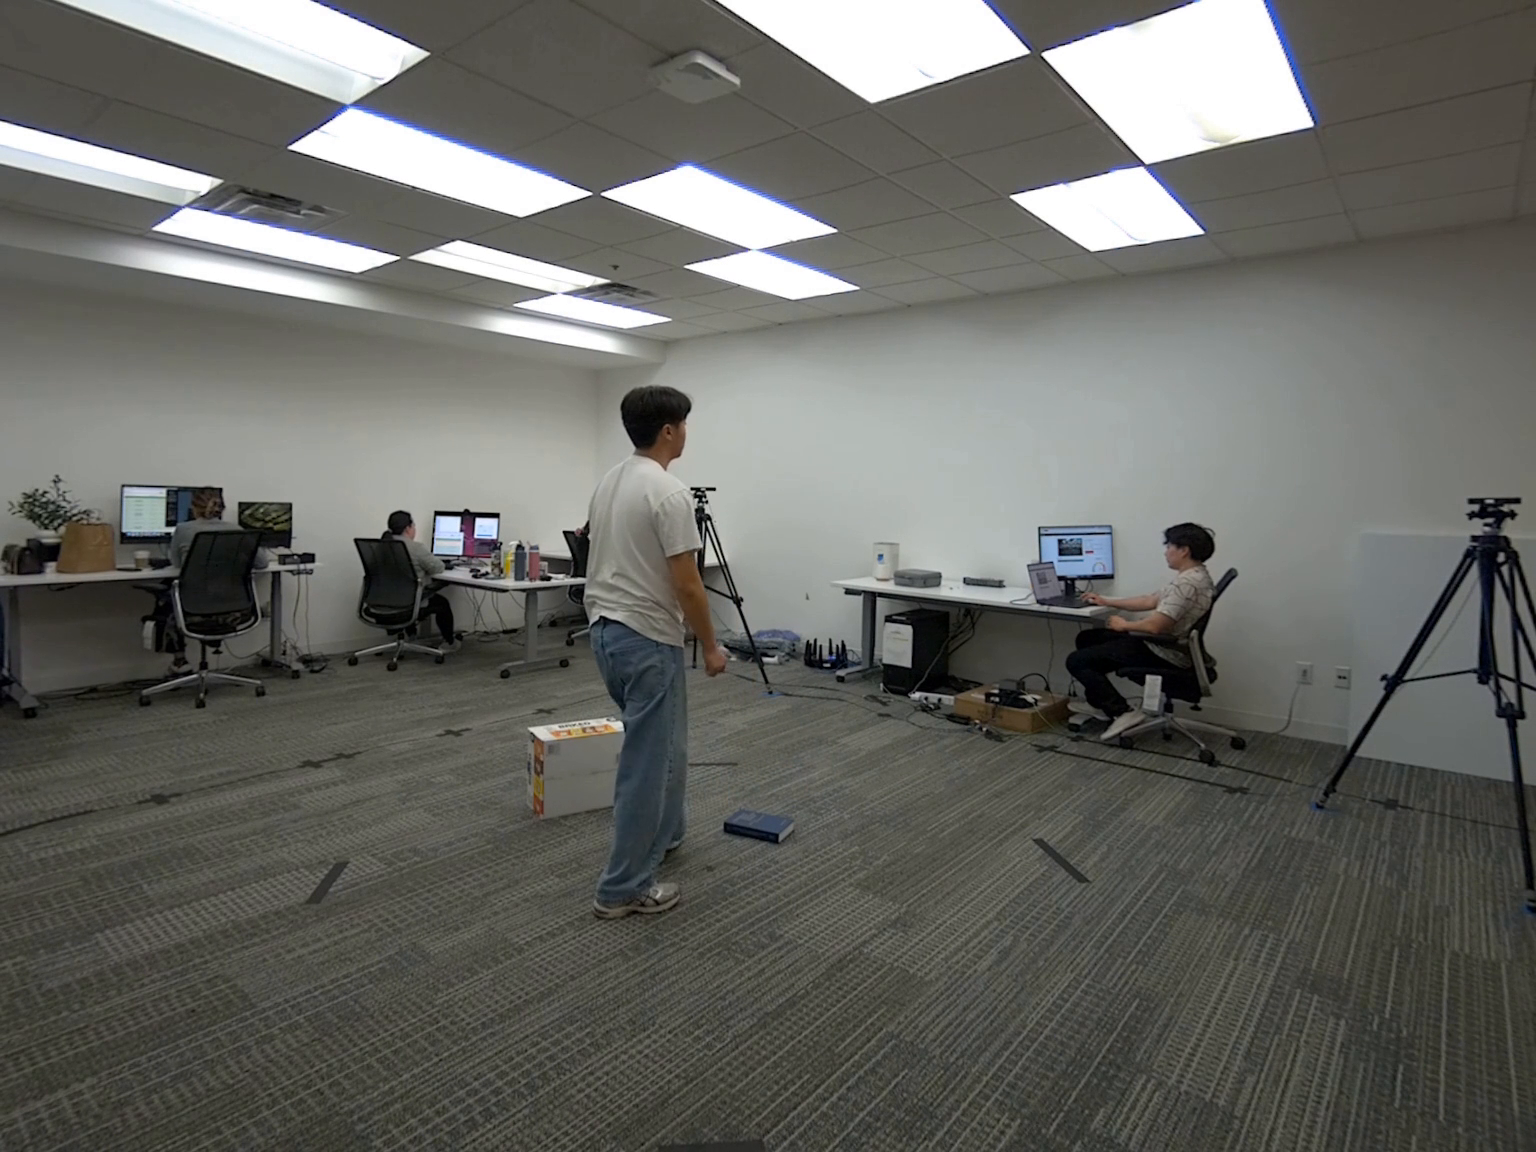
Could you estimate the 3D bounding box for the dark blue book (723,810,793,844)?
[{"bbox_3d":[-0.045,1.012,3.458,0.252,0.045,0.160,4,6,26],"label":"dark blue book"}]
